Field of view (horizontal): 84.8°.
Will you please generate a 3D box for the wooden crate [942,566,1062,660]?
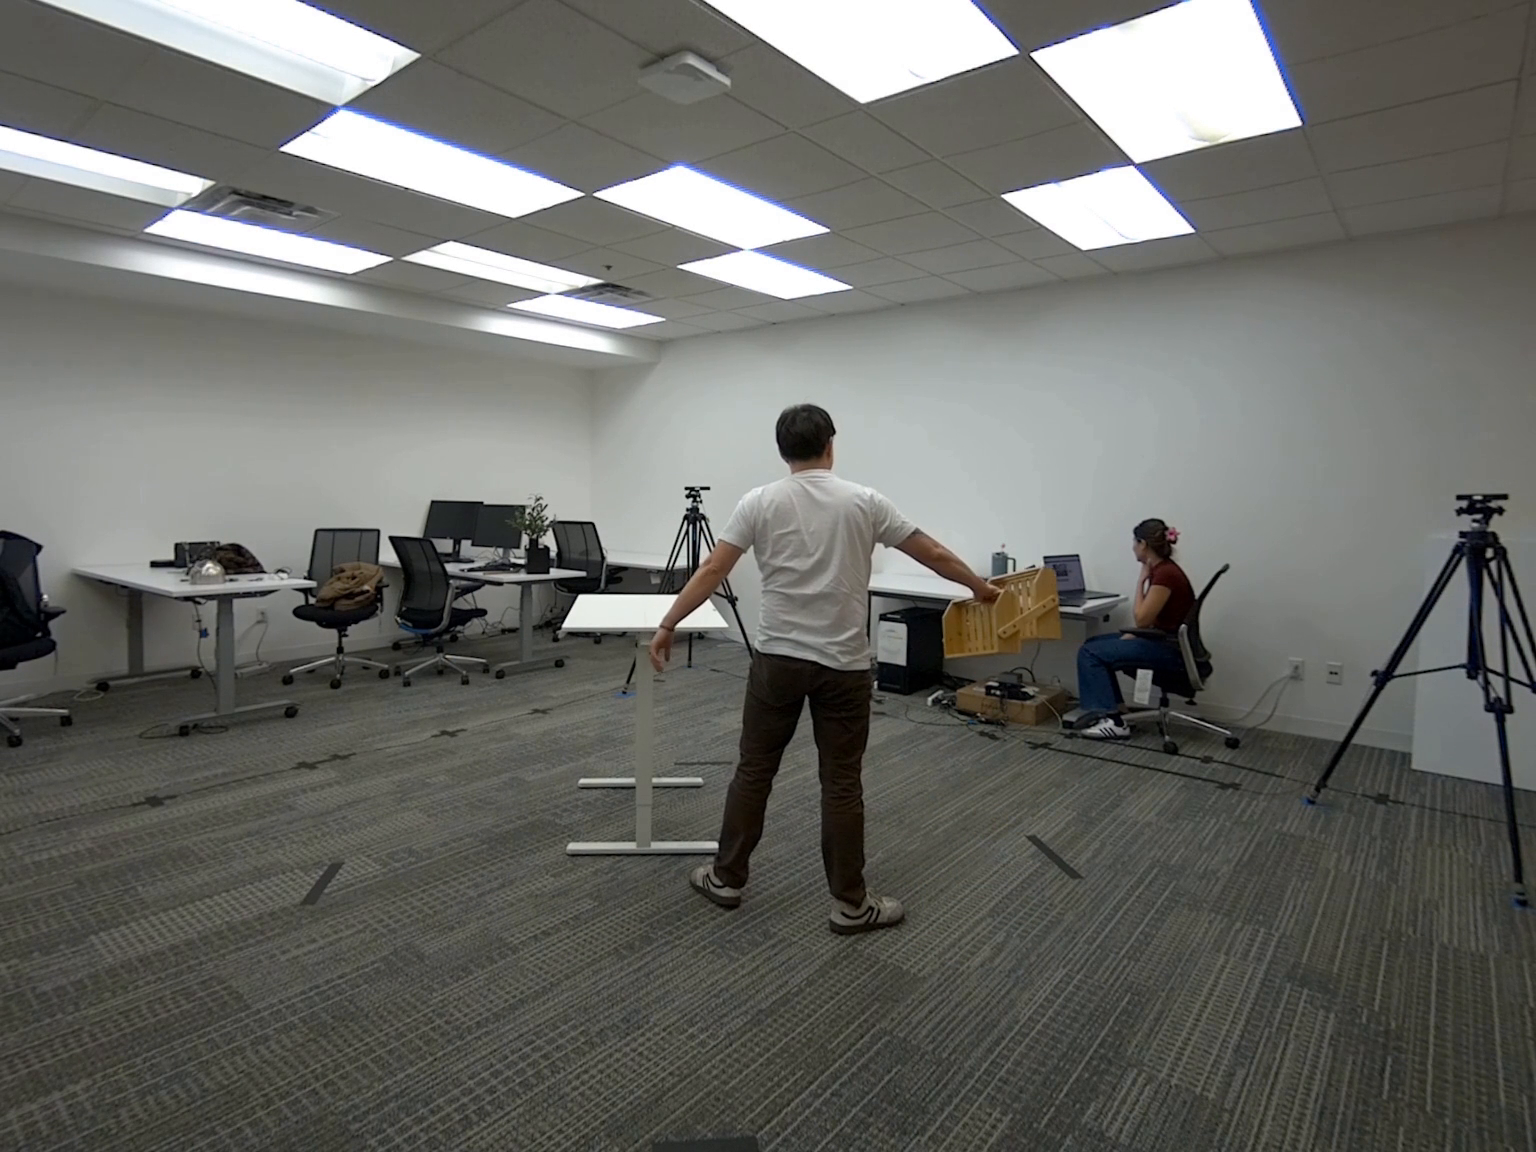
[{"bbox_3d":[0.790,0.132,2.969,0.267,0.305,0.328,4,-11,-21],"label":"wooden crate"}]
